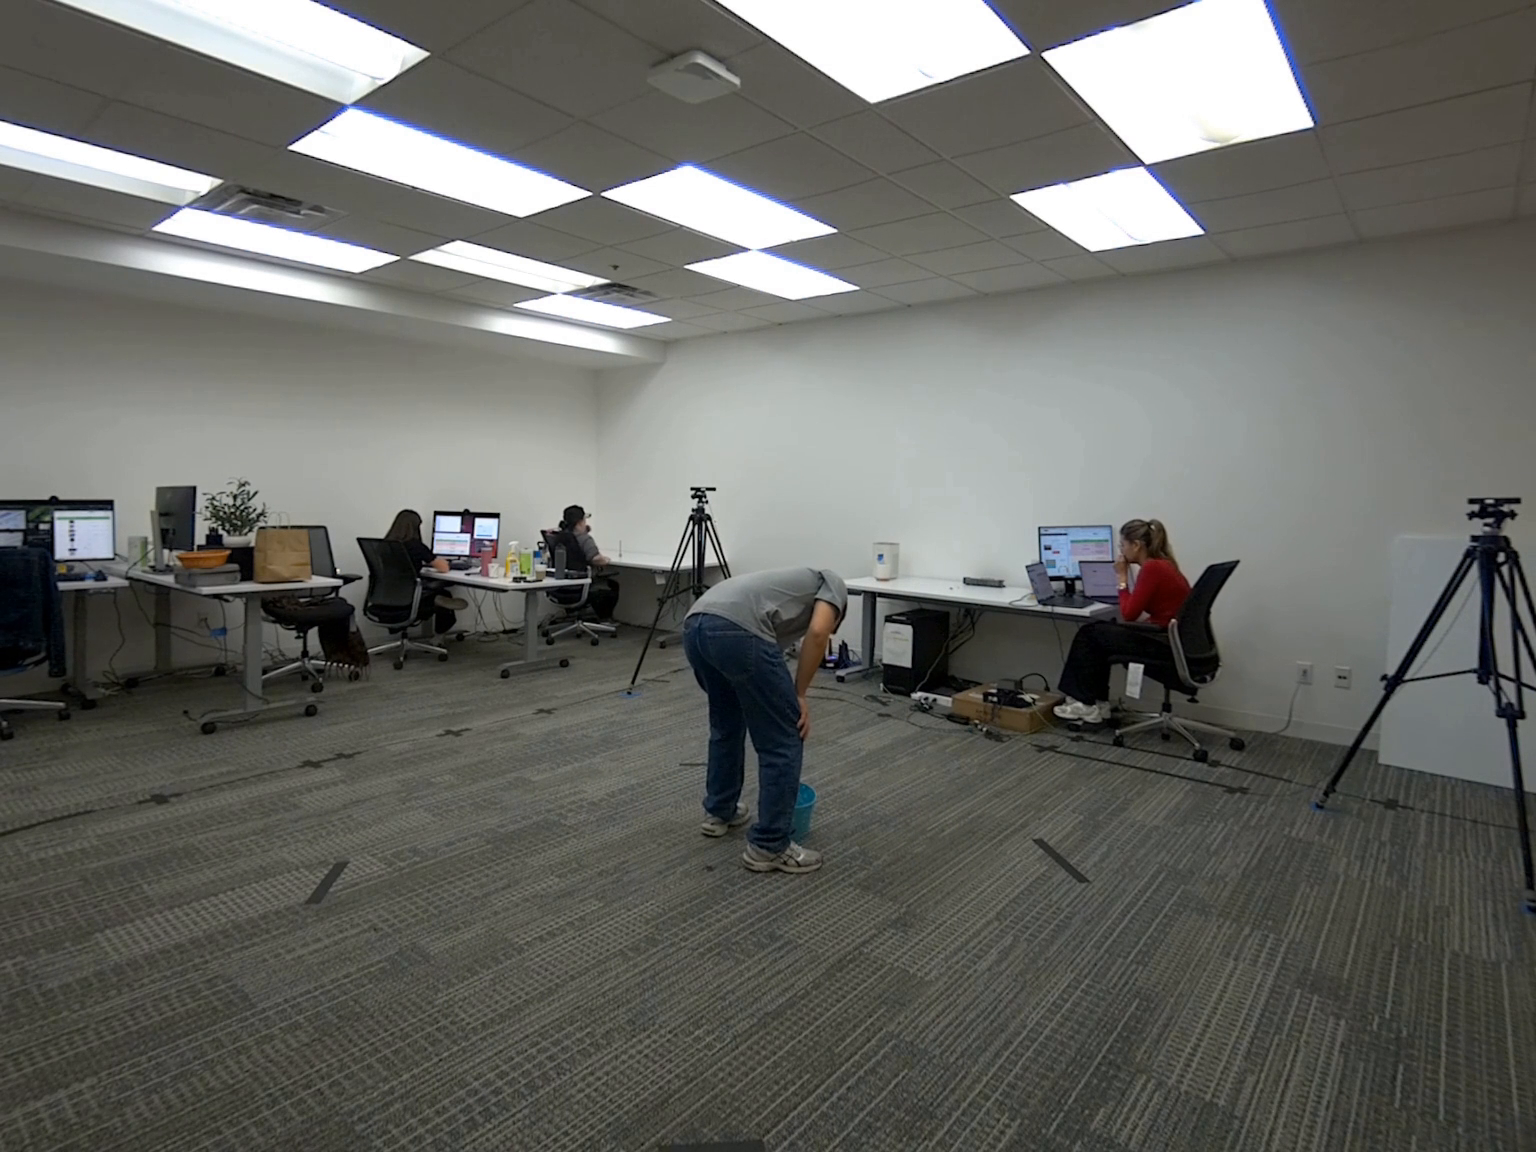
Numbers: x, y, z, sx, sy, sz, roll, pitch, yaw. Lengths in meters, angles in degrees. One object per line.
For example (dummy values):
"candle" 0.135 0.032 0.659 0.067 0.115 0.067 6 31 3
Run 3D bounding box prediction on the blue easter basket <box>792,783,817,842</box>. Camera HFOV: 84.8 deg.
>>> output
"blue easter basket" 0.068 0.947 3.464 0.243 0.154 0.247 2 13 -2
